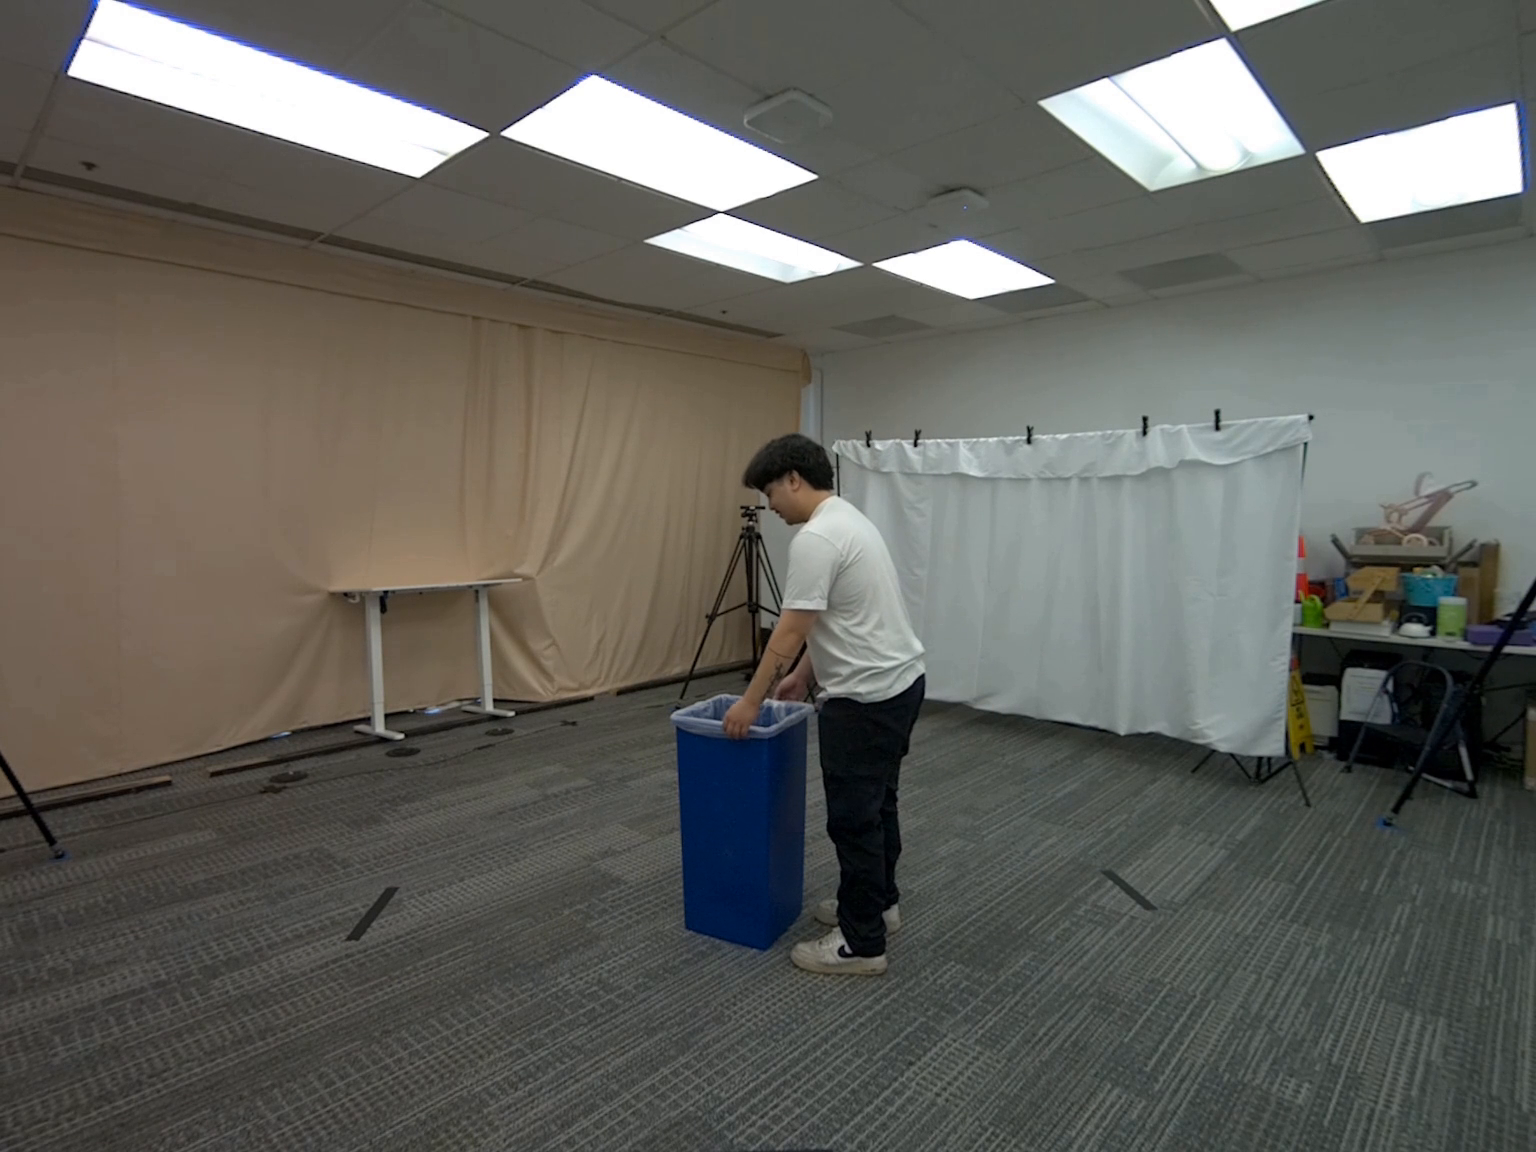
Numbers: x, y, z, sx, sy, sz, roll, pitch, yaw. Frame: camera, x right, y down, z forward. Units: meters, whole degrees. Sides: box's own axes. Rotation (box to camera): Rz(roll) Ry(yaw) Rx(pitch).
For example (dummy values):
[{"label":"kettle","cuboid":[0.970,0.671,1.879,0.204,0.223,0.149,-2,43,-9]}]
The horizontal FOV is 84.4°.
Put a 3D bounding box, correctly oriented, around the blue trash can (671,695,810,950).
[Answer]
[{"label":"blue trash can","cuboid":[-0.074,0.799,2.807,0.388,0.712,0.365,1,3,27]}]
